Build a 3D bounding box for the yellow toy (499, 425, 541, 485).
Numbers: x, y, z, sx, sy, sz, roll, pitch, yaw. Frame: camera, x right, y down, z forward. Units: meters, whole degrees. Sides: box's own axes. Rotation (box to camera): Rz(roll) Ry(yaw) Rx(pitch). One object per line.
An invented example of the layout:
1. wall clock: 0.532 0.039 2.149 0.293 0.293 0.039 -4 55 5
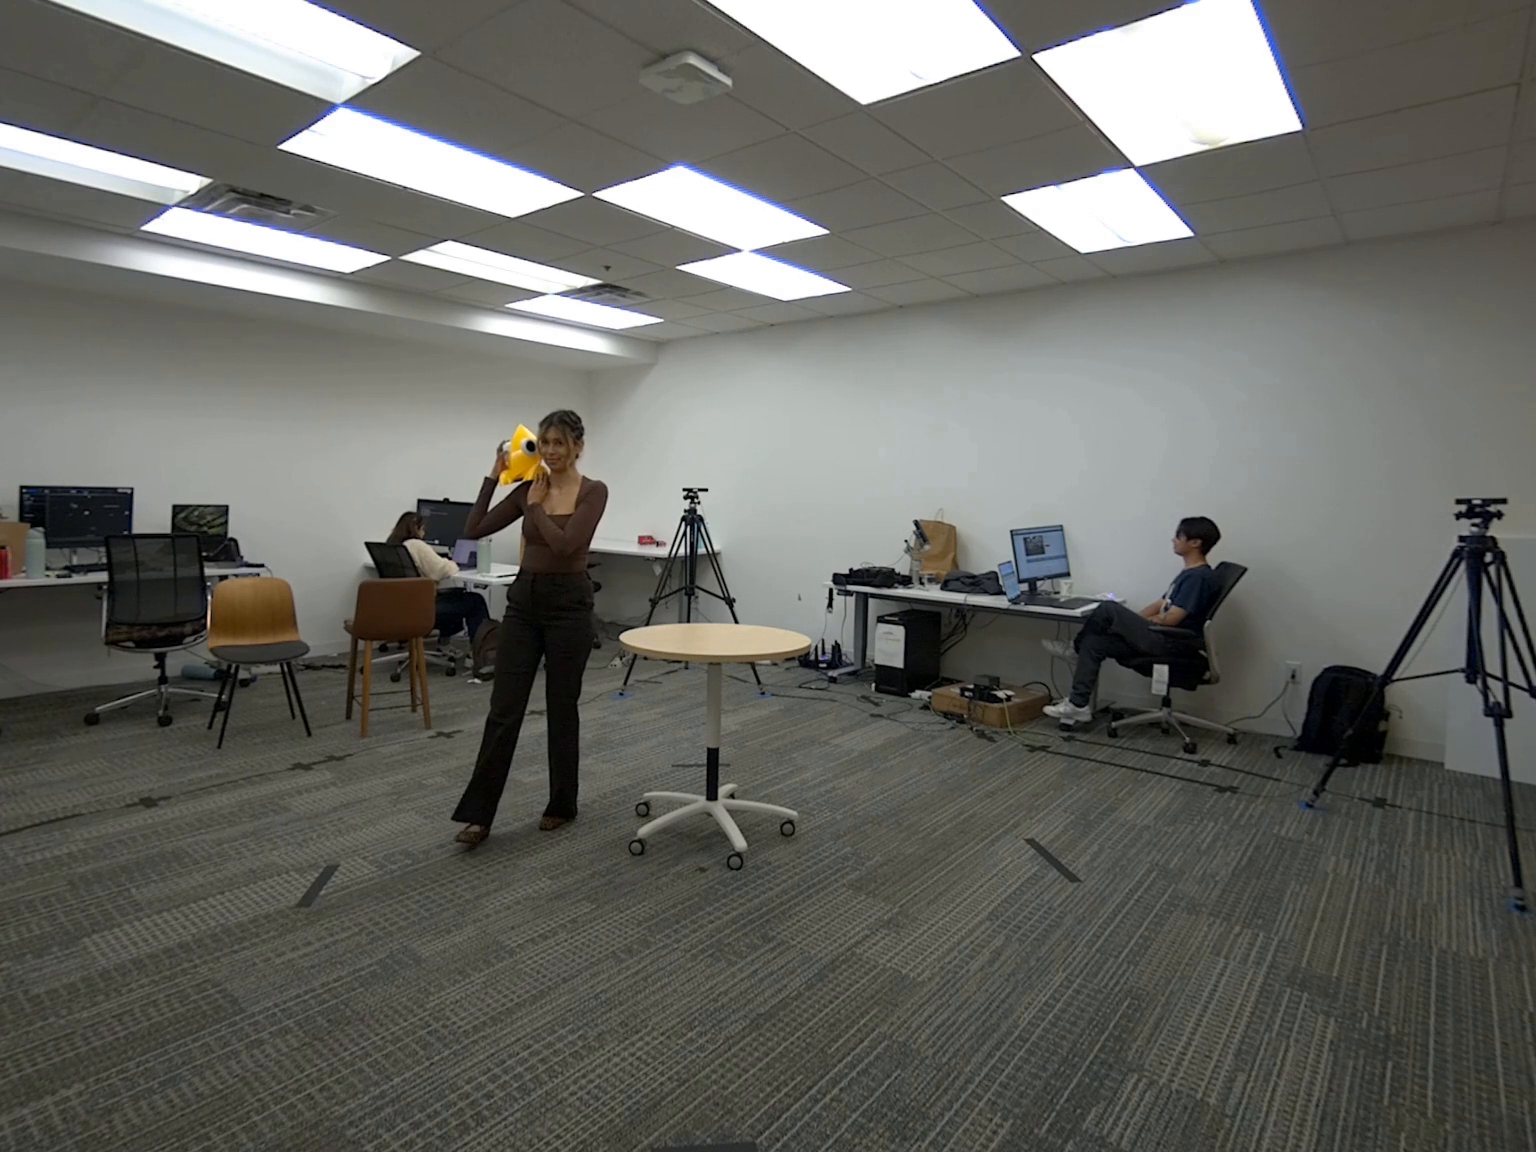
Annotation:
1. yellow toy: -1.048 -0.516 3.530 0.208 0.228 0.192 -9 10 18
